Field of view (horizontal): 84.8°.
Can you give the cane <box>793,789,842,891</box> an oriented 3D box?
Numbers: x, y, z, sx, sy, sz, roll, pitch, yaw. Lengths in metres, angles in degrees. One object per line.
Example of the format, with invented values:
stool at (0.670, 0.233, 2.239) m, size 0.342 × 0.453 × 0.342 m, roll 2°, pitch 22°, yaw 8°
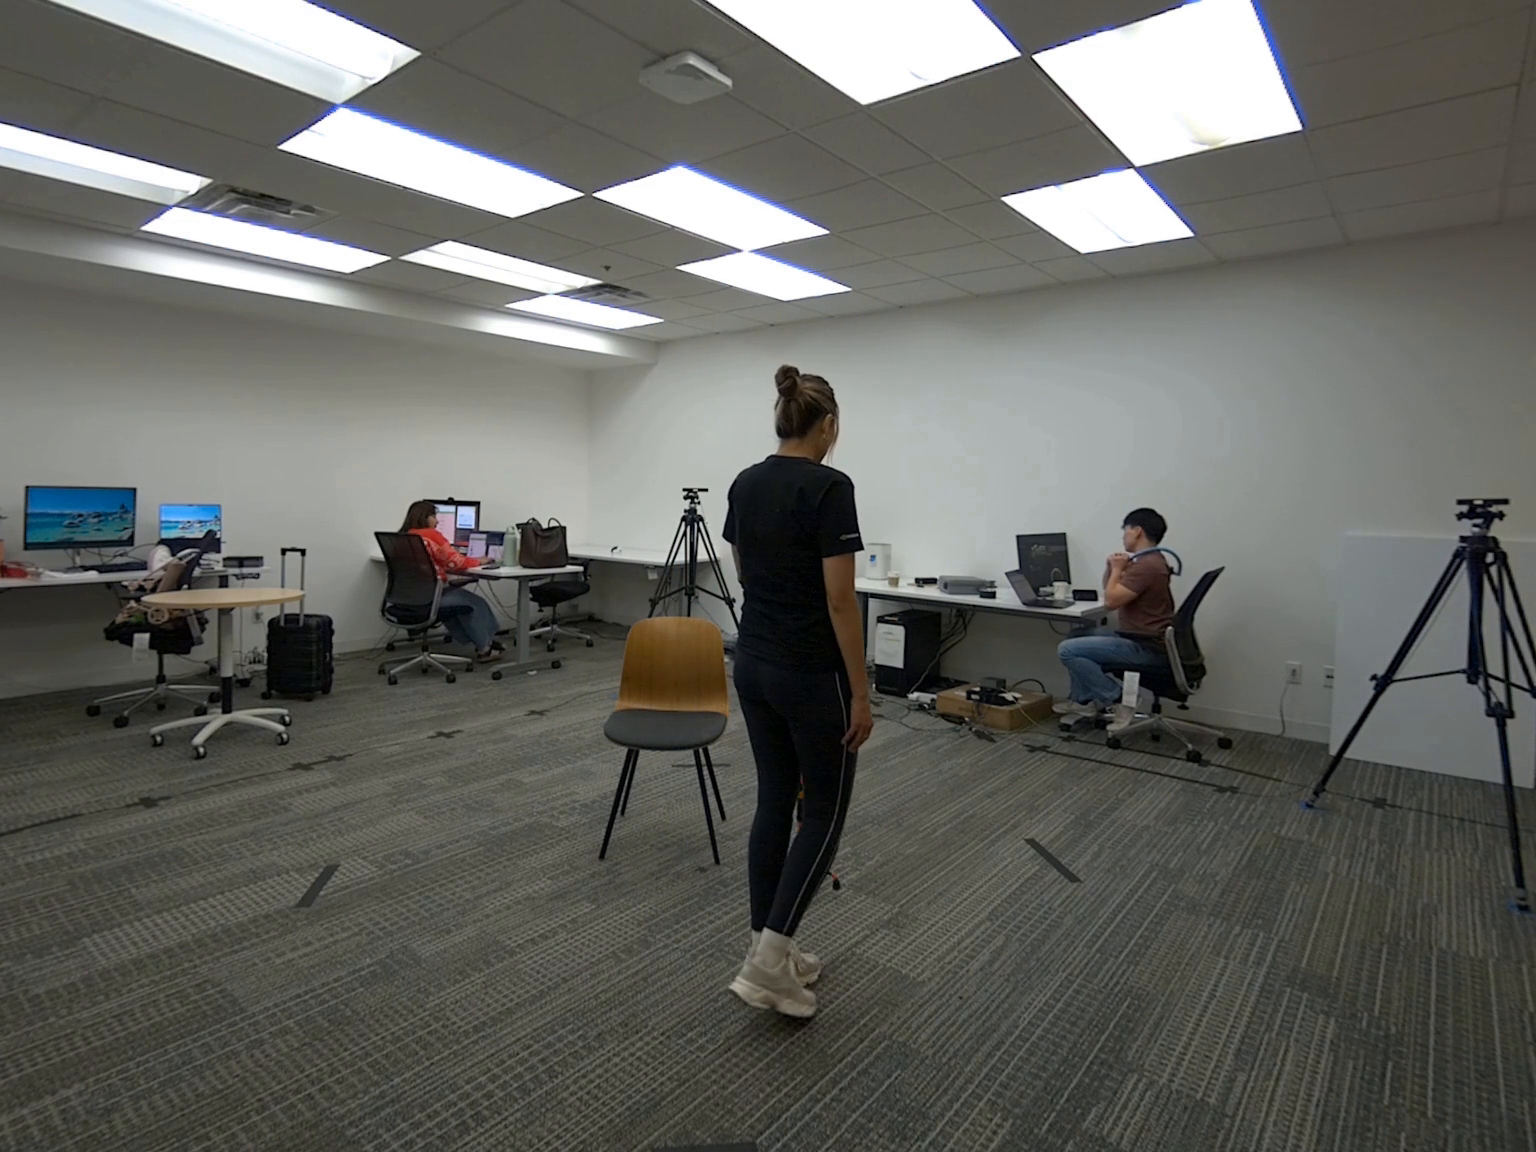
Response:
cane at (0.107, 0.626, 2.867) m, size 0.201 × 0.902 × 0.156 m, roll -5°, pitch 8°, yaw -33°
